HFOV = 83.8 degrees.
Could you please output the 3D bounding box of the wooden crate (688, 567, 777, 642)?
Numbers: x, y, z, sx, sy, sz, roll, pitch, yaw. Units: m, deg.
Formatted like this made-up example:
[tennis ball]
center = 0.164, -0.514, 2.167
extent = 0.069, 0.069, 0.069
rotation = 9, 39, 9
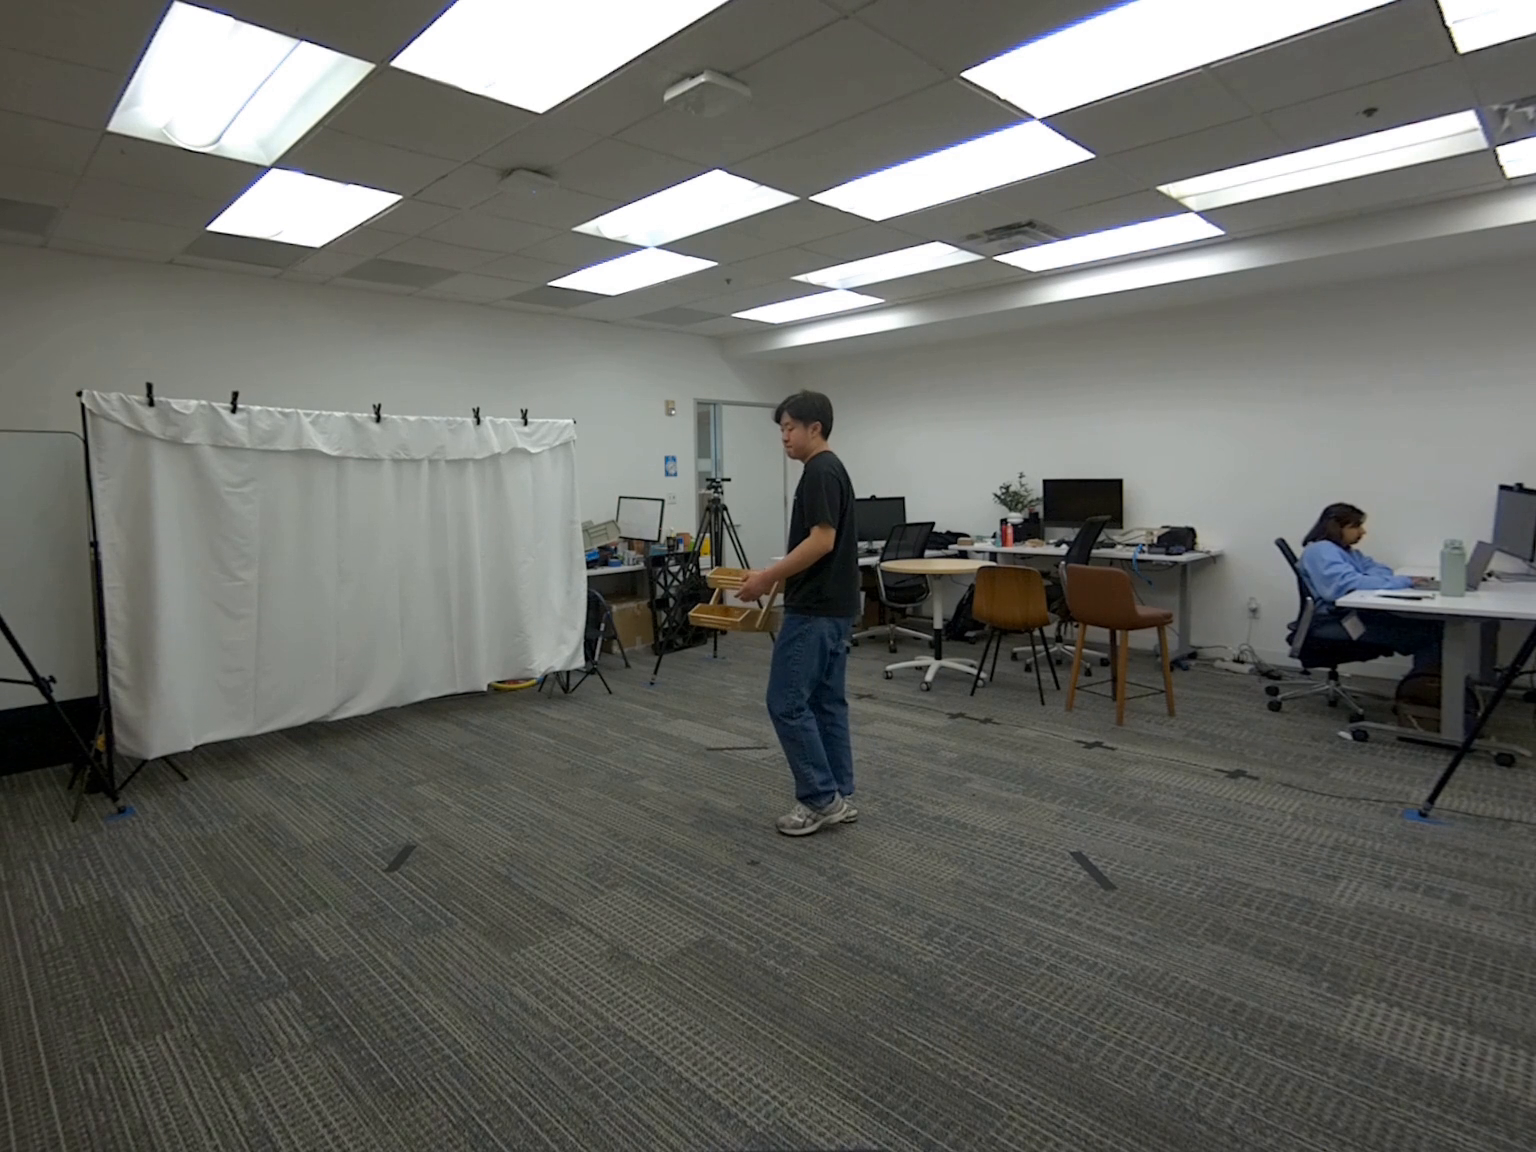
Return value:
[wooden crate]
center = -0.130, 0.091, 3.692
extent = 0.334, 0.274, 0.292
rotation = 4, -2, 43
